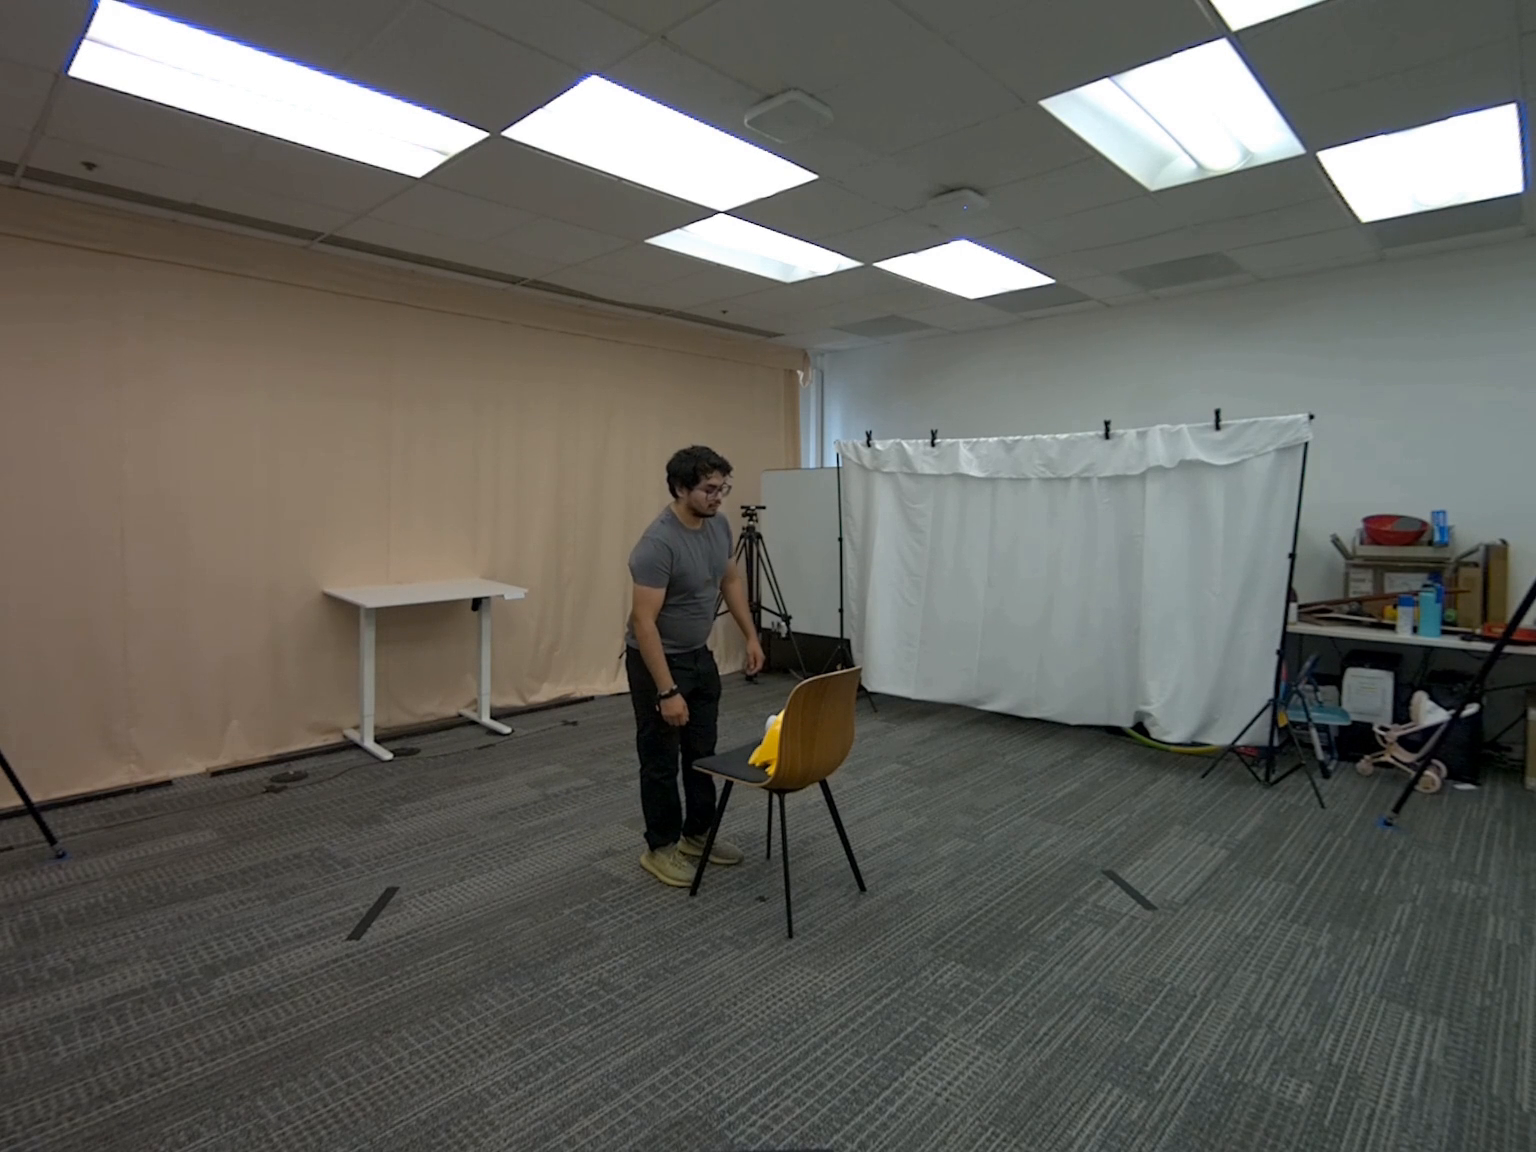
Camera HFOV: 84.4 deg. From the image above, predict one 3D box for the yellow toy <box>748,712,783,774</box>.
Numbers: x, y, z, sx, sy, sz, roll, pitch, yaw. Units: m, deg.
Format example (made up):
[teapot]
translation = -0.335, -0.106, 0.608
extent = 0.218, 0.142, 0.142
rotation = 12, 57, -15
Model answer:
[yellow toy]
translation = 0.056, 0.557, 2.958
extent = 0.188, 0.230, 0.211
rotation = -1, 7, -32
